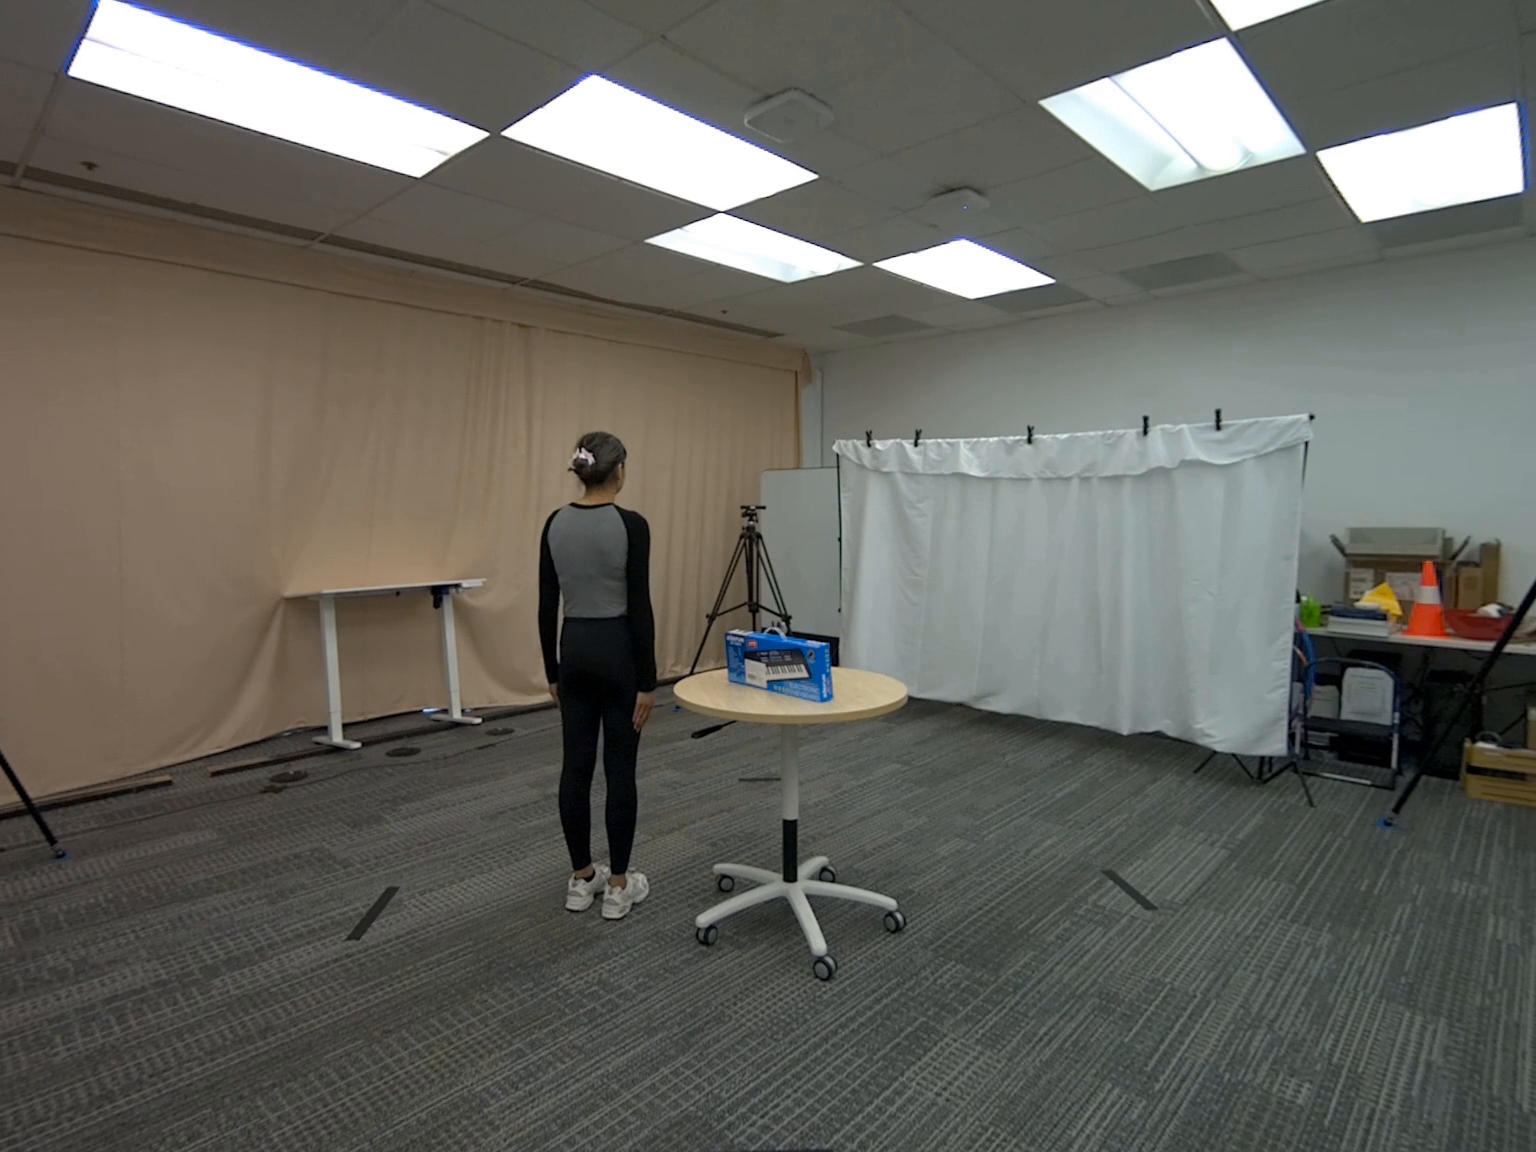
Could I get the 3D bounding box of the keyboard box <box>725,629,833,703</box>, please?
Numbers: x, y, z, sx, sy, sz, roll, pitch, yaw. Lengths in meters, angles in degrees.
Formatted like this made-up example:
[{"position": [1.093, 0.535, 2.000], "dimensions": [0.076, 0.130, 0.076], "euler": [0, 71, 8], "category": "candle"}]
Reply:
[{"position": [0.034, 0.287, 2.721], "dimensions": [0.057, 0.175, 0.451], "euler": [-9, 8, -40], "category": "keyboard box"}]
